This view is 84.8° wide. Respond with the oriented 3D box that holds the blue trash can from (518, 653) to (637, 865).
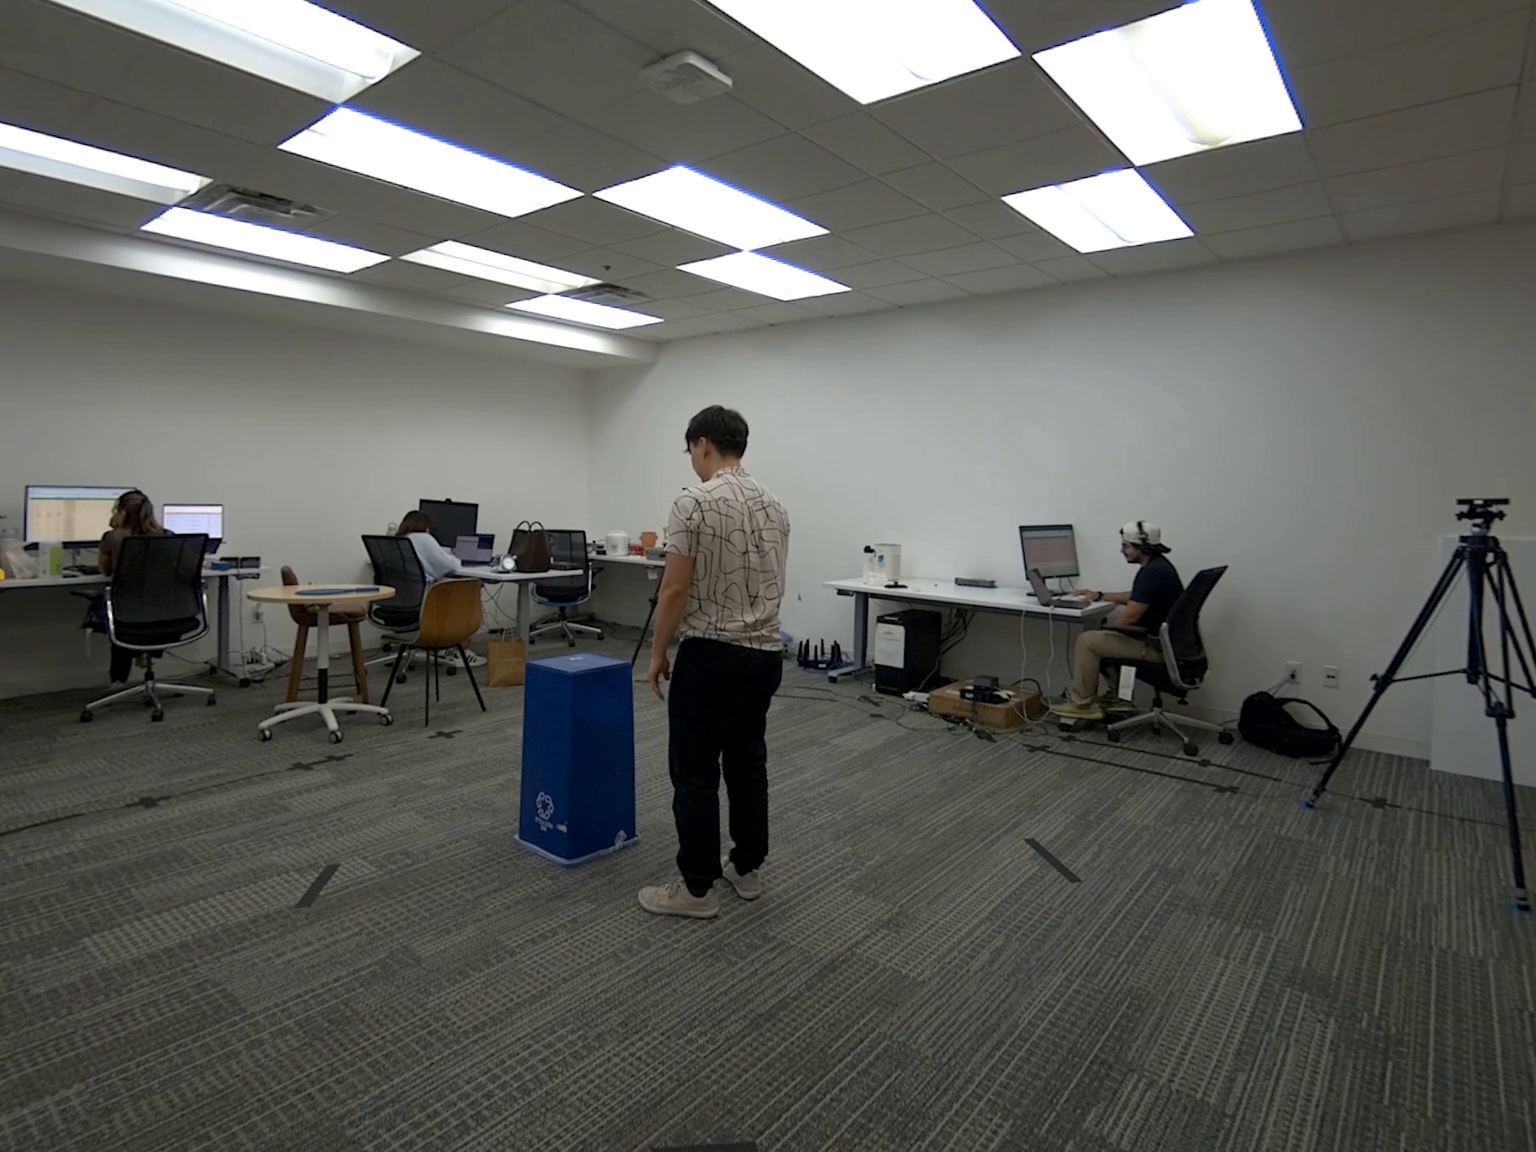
[{"bbox_3d":[-0.763,0.683,3.321,0.391,0.712,0.363,3,3,42],"label":"blue trash can"}]
